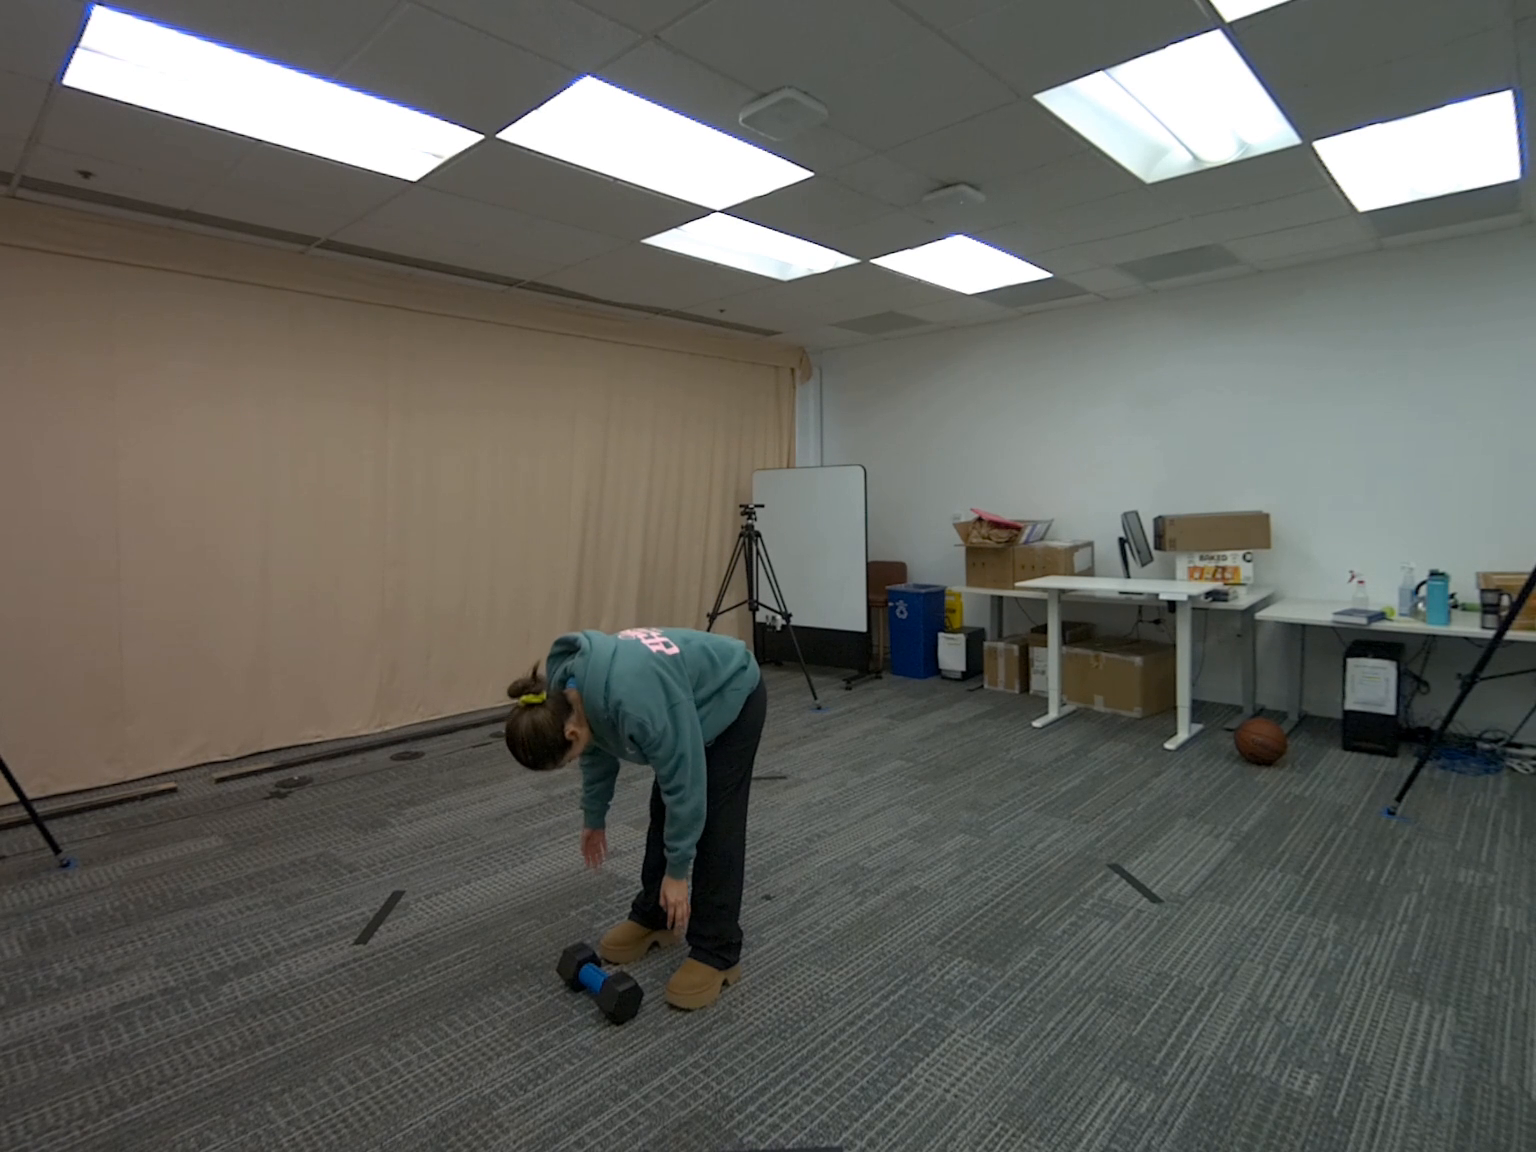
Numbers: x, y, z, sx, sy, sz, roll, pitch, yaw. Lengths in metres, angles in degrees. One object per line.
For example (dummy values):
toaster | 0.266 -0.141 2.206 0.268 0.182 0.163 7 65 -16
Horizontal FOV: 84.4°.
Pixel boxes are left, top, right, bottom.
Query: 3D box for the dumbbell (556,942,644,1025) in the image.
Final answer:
dumbbell | -0.475 1.149 2.379 0.303 0.120 0.107 4 38 47
